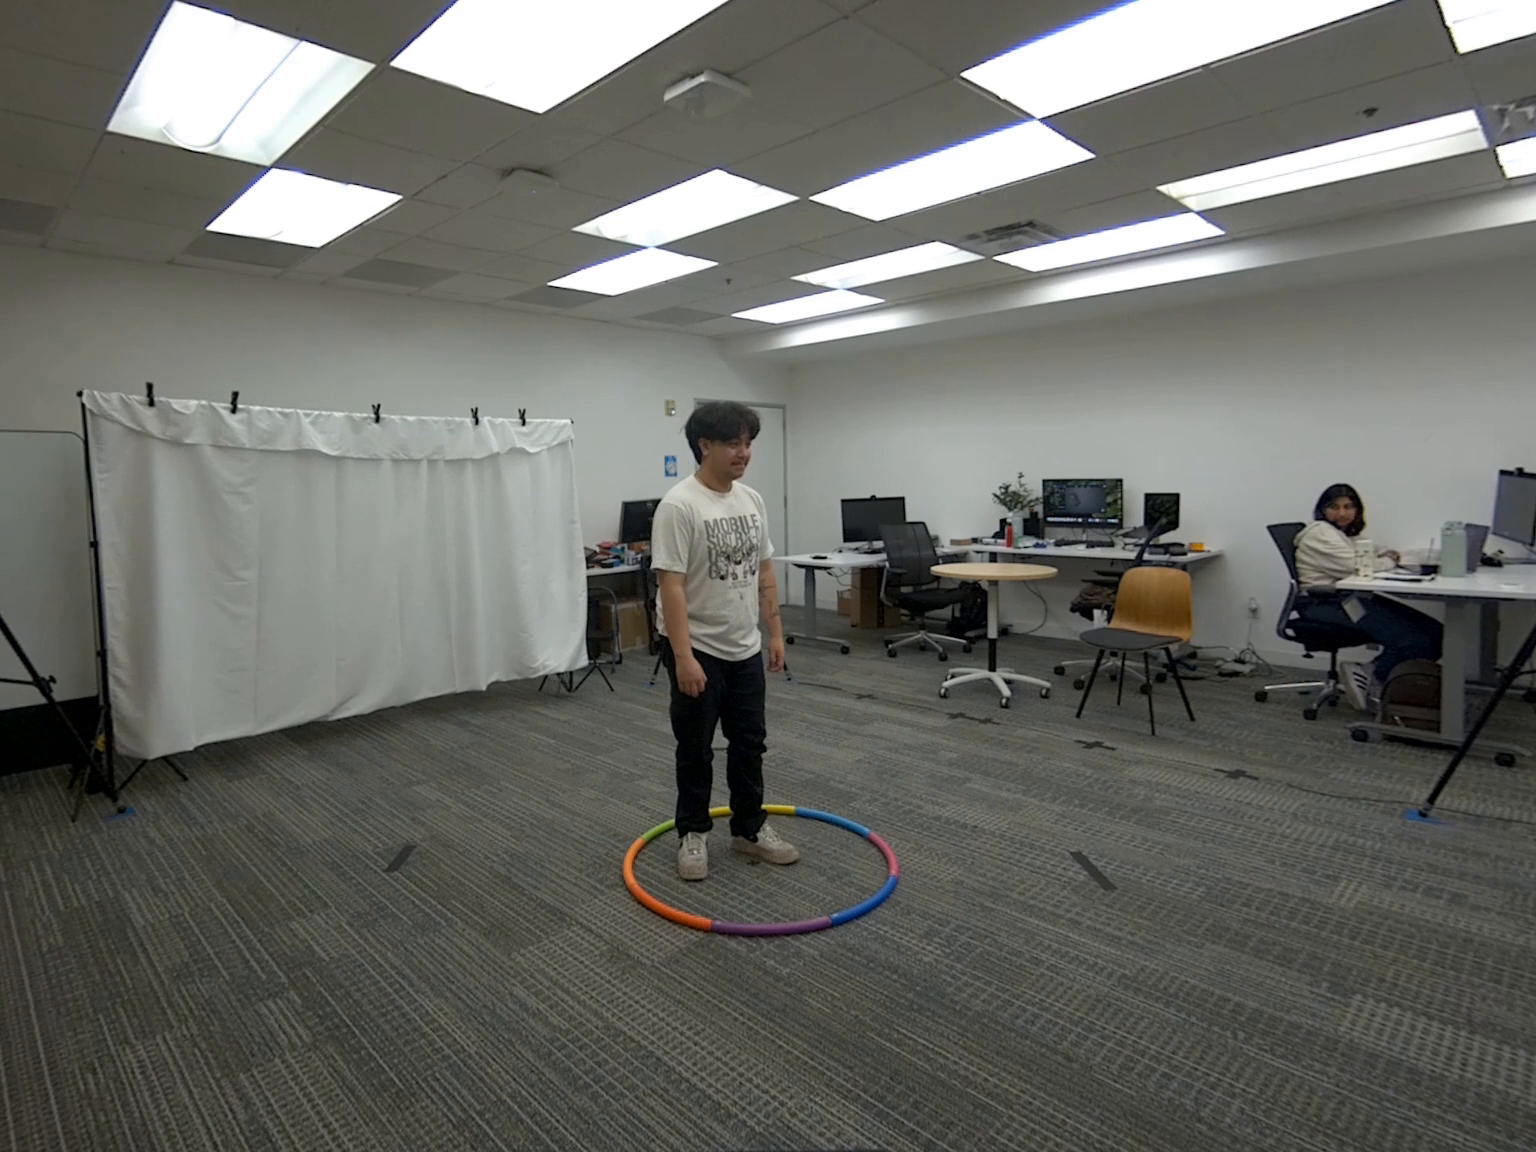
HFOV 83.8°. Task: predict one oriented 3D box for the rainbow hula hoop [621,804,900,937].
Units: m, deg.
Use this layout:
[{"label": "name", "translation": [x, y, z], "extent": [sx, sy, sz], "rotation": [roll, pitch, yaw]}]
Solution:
[{"label": "rainbow hula hoop", "translation": [-0.028, 1.020, 3.091], "extent": [0.985, 0.051, 0.991], "rotation": [-1, 6, -2]}]
